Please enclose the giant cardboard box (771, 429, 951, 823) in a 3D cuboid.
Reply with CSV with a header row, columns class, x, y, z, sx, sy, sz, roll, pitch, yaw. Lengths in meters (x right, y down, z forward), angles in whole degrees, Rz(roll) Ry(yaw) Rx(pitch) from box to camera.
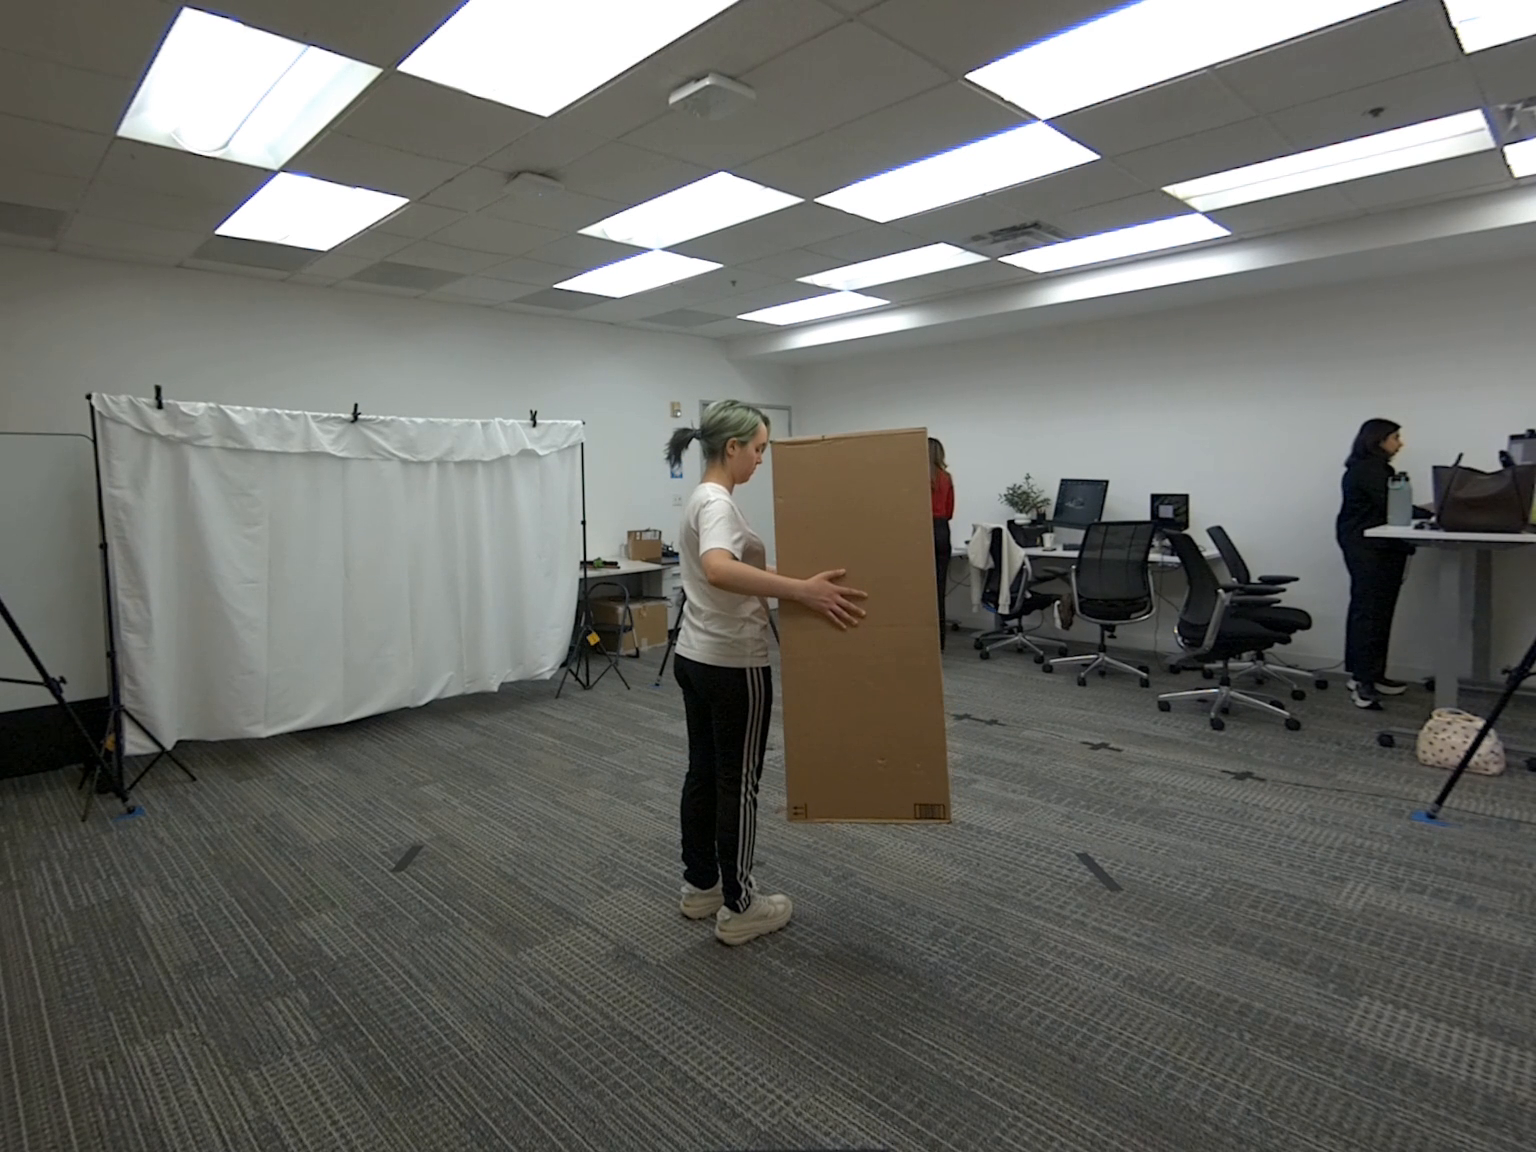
class,x,y,z,sx,sy,sz,roll,pitch,yaw
giant cardboard box,0.274,0.144,2.528,0.430,1.032,0.568,-3,-6,10
